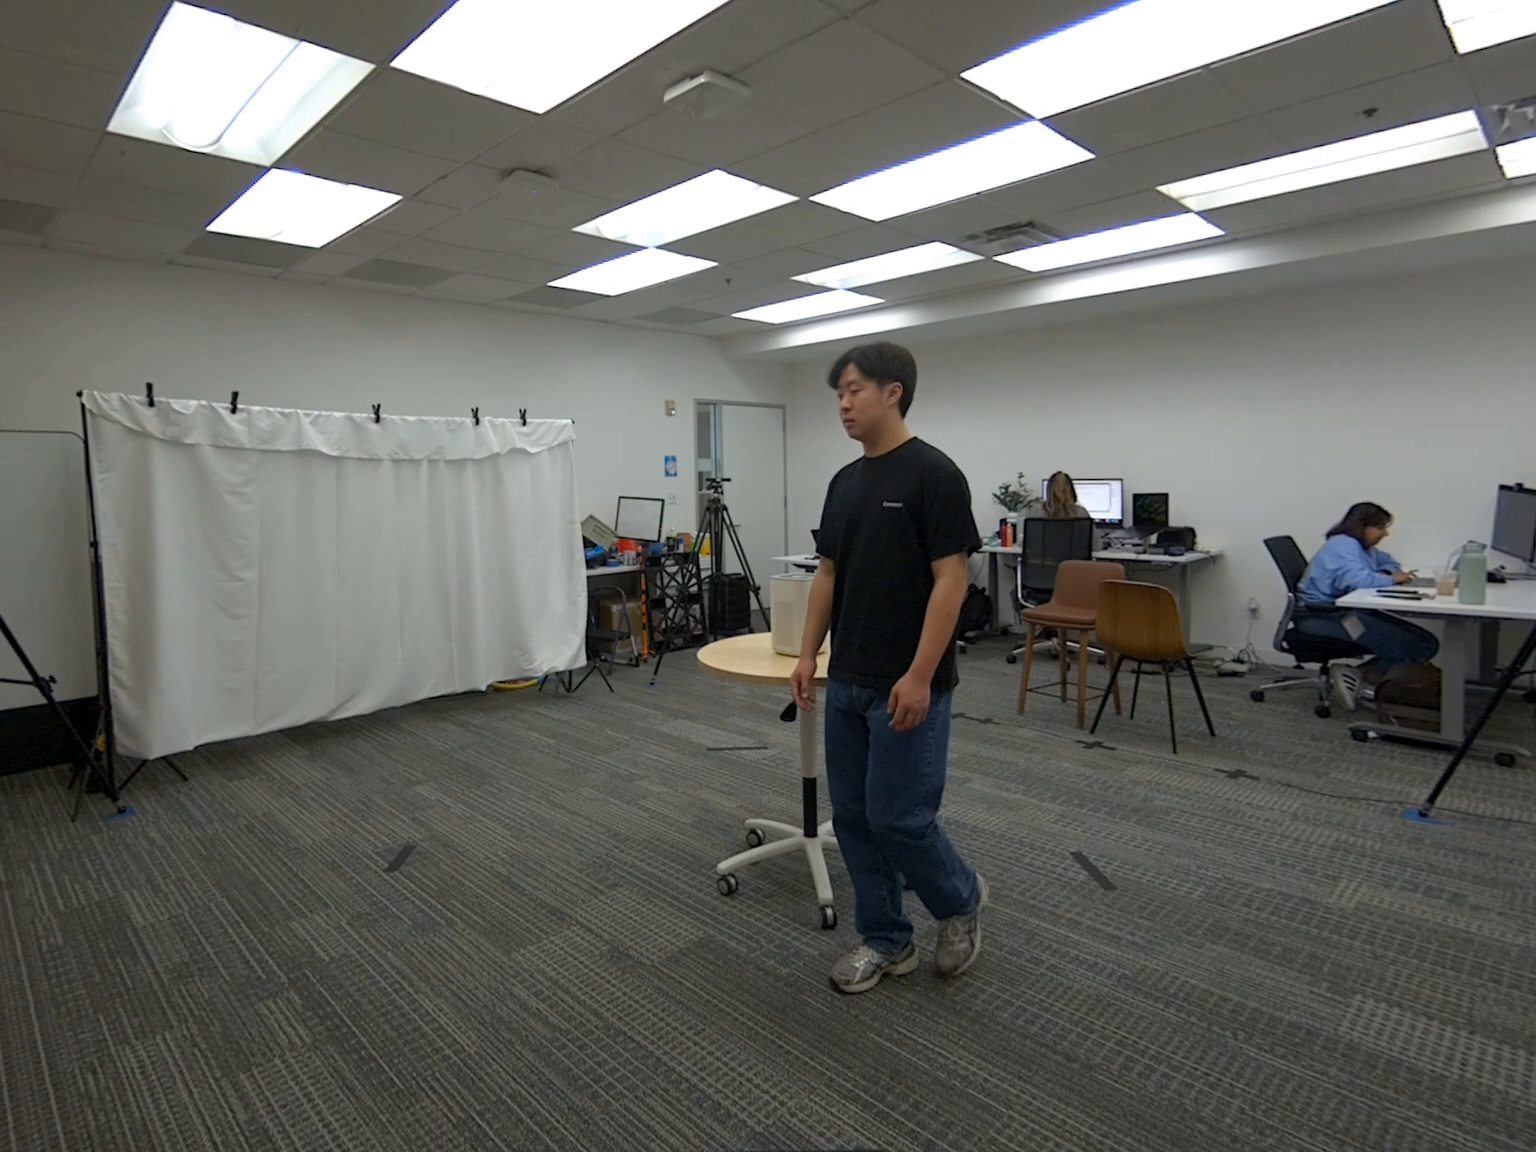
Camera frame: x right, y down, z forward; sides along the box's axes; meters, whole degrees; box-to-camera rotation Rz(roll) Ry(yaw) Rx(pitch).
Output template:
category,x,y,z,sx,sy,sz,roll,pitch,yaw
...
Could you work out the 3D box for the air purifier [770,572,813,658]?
category,x,y,z,sx,sy,sz,roll,pitch,yaw
air purifier,0.114,0.133,2.940,0.177,0.264,0.166,5,7,45
